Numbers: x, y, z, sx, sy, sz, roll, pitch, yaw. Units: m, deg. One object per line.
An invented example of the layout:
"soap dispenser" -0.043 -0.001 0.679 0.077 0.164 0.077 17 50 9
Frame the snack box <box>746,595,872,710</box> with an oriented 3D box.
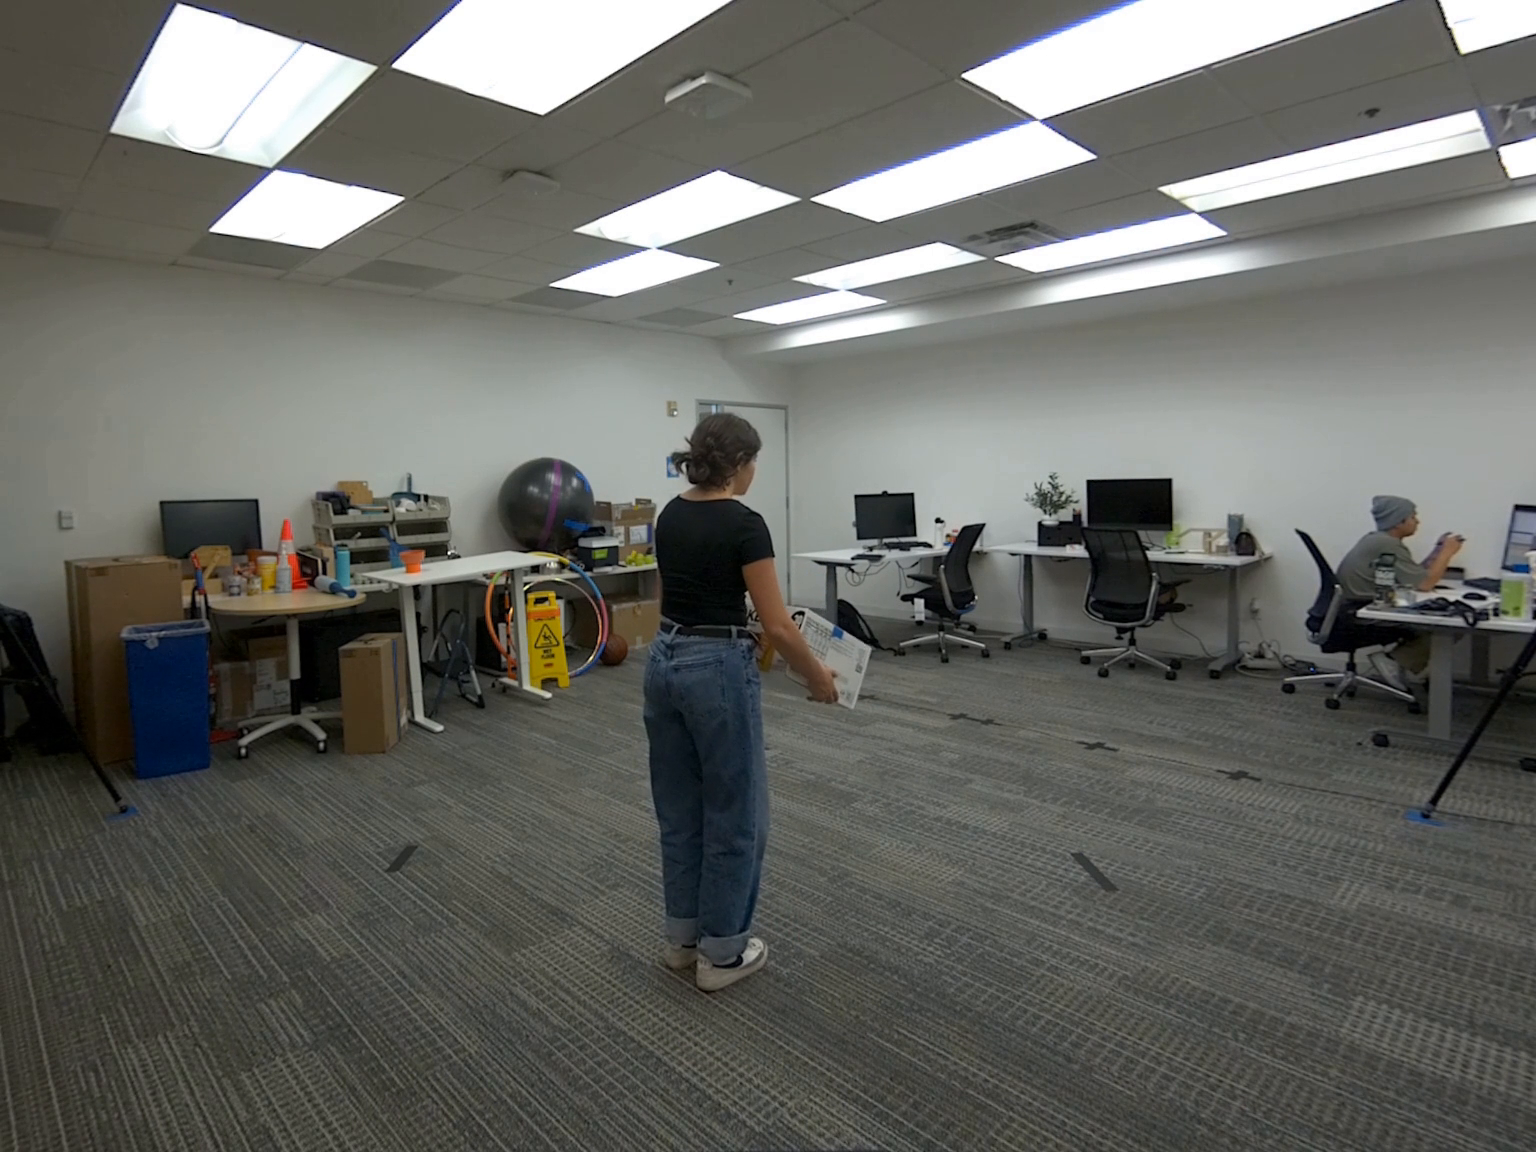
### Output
"snack box" 0.040 0.230 2.632 0.418 0.207 0.327 5 -19 45
